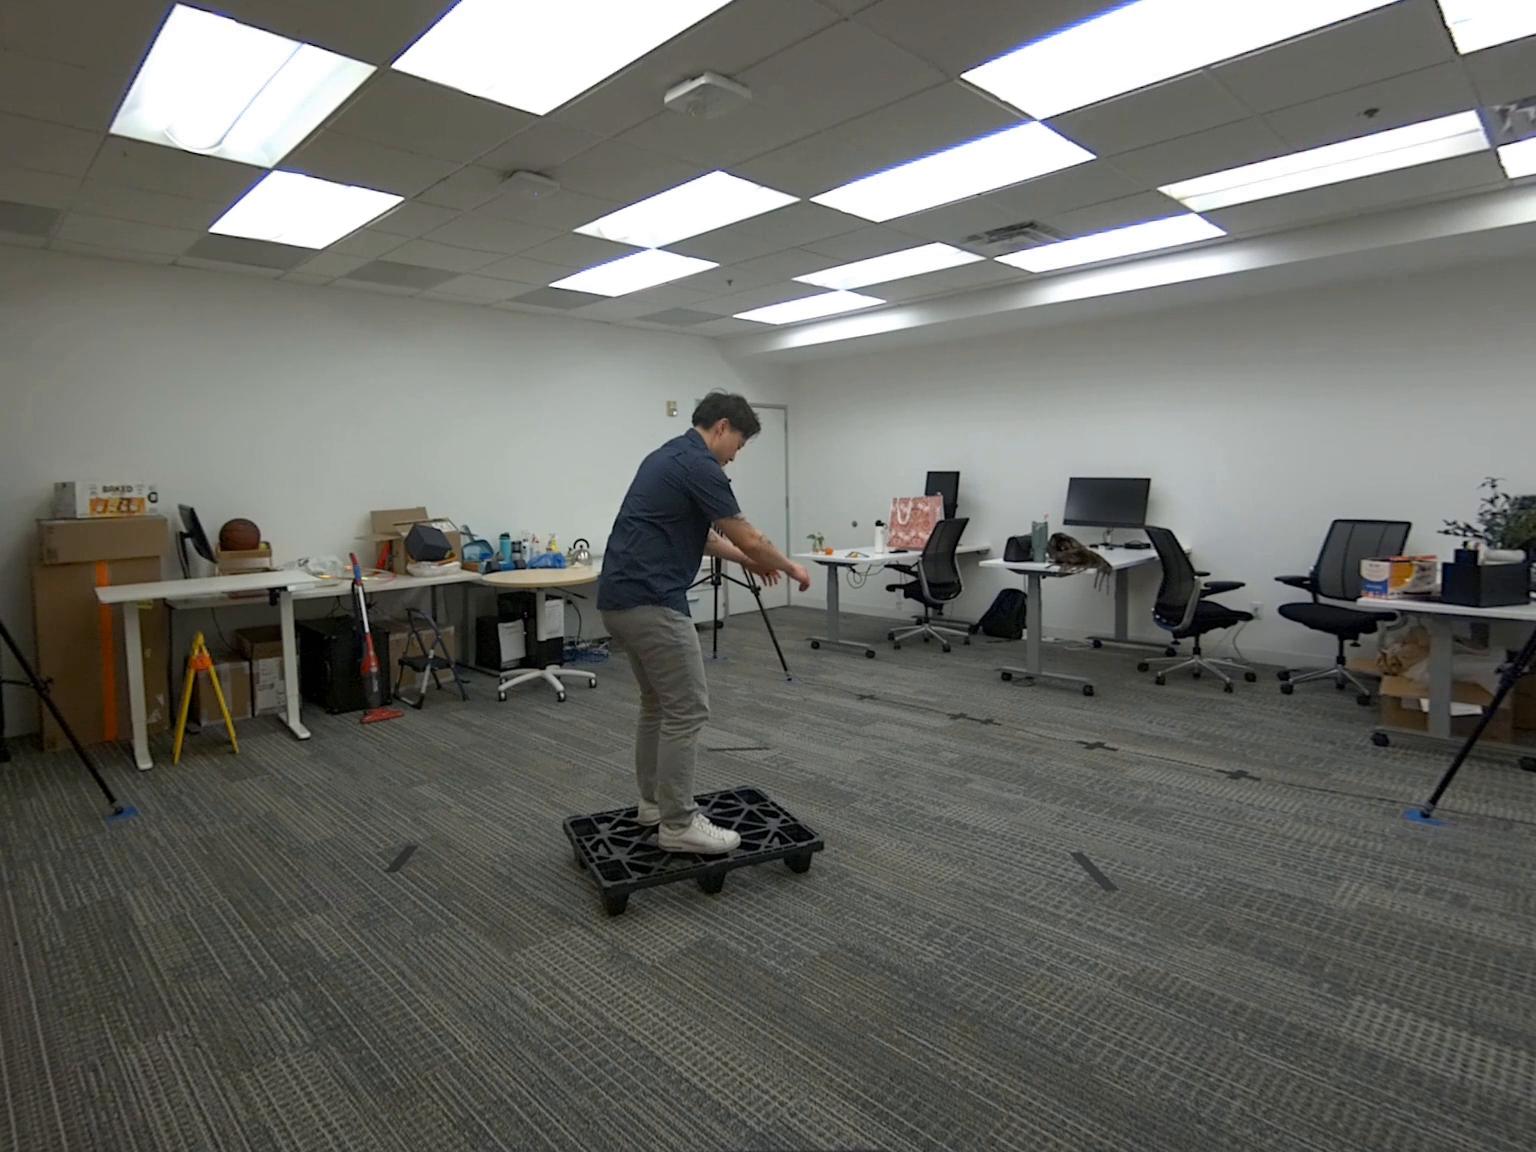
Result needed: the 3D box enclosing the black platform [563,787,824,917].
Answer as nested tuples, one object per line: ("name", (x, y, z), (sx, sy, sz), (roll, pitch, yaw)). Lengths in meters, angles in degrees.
("black platform", (-0.288, 0.982, 3.102), (0.789, 0.143, 0.620), (-4, 7, -24))
